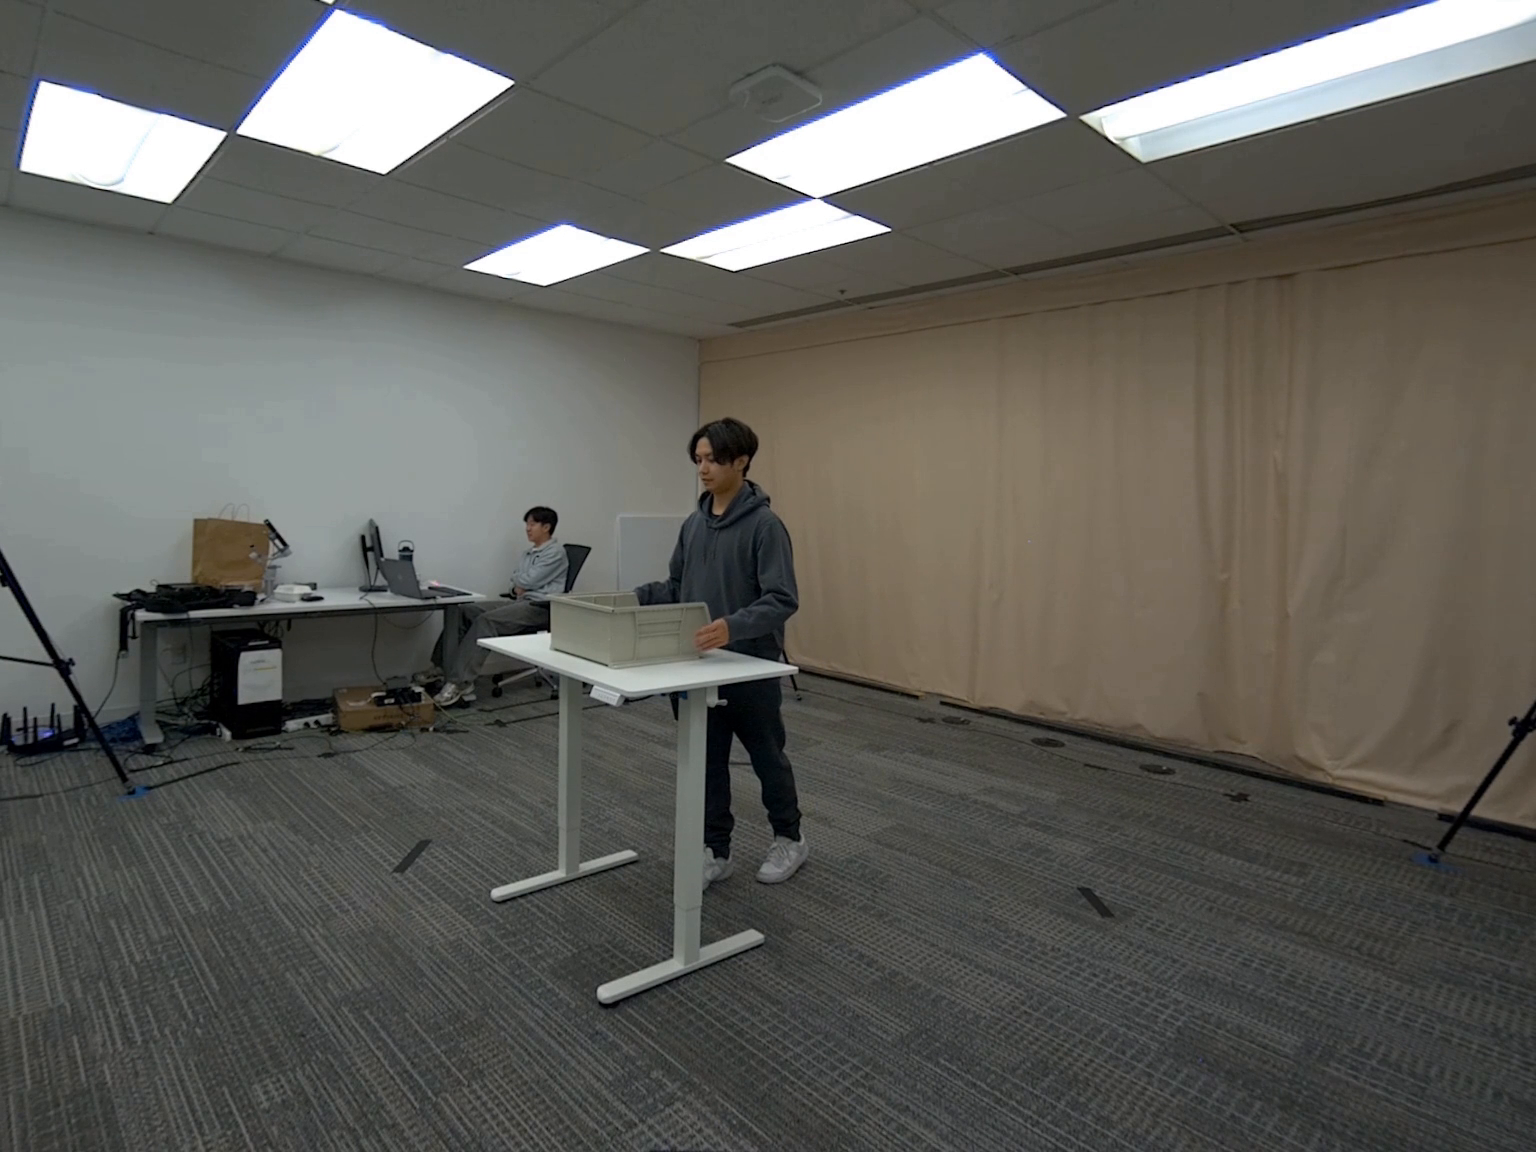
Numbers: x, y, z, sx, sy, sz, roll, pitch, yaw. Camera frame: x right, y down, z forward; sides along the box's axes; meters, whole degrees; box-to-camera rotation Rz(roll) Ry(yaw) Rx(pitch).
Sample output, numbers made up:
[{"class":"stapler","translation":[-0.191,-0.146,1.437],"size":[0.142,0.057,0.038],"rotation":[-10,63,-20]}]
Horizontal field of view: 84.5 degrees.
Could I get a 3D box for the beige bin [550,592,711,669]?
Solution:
[{"class":"beige bin","translation":[-0.461,0.168,2.700],"size":[0.369,0.188,0.433],"rotation":[-3,6,-40]}]
